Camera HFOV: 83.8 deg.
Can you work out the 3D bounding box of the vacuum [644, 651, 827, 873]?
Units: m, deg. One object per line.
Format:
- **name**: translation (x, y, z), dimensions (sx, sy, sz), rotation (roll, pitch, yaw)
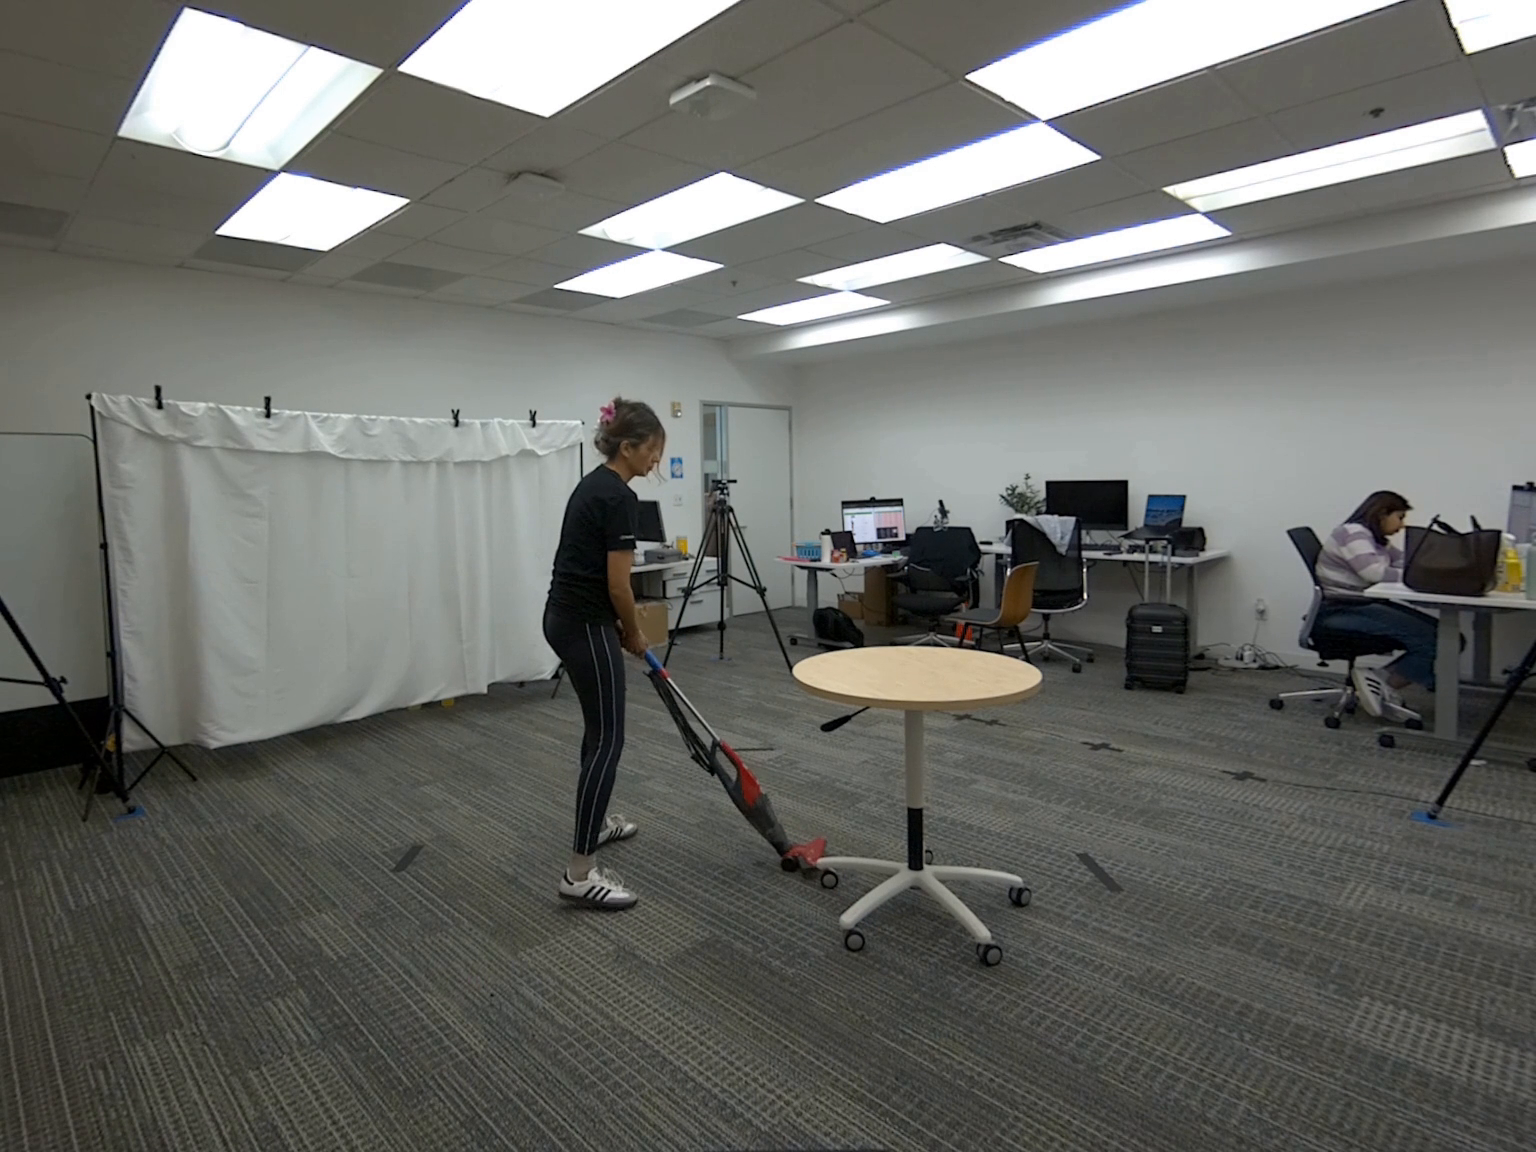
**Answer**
- **vacuum**: translation (-0.208, 0.647, 3.151), dimensions (0.144, 1.060, 0.250), rotation (-45, -7, 6)
